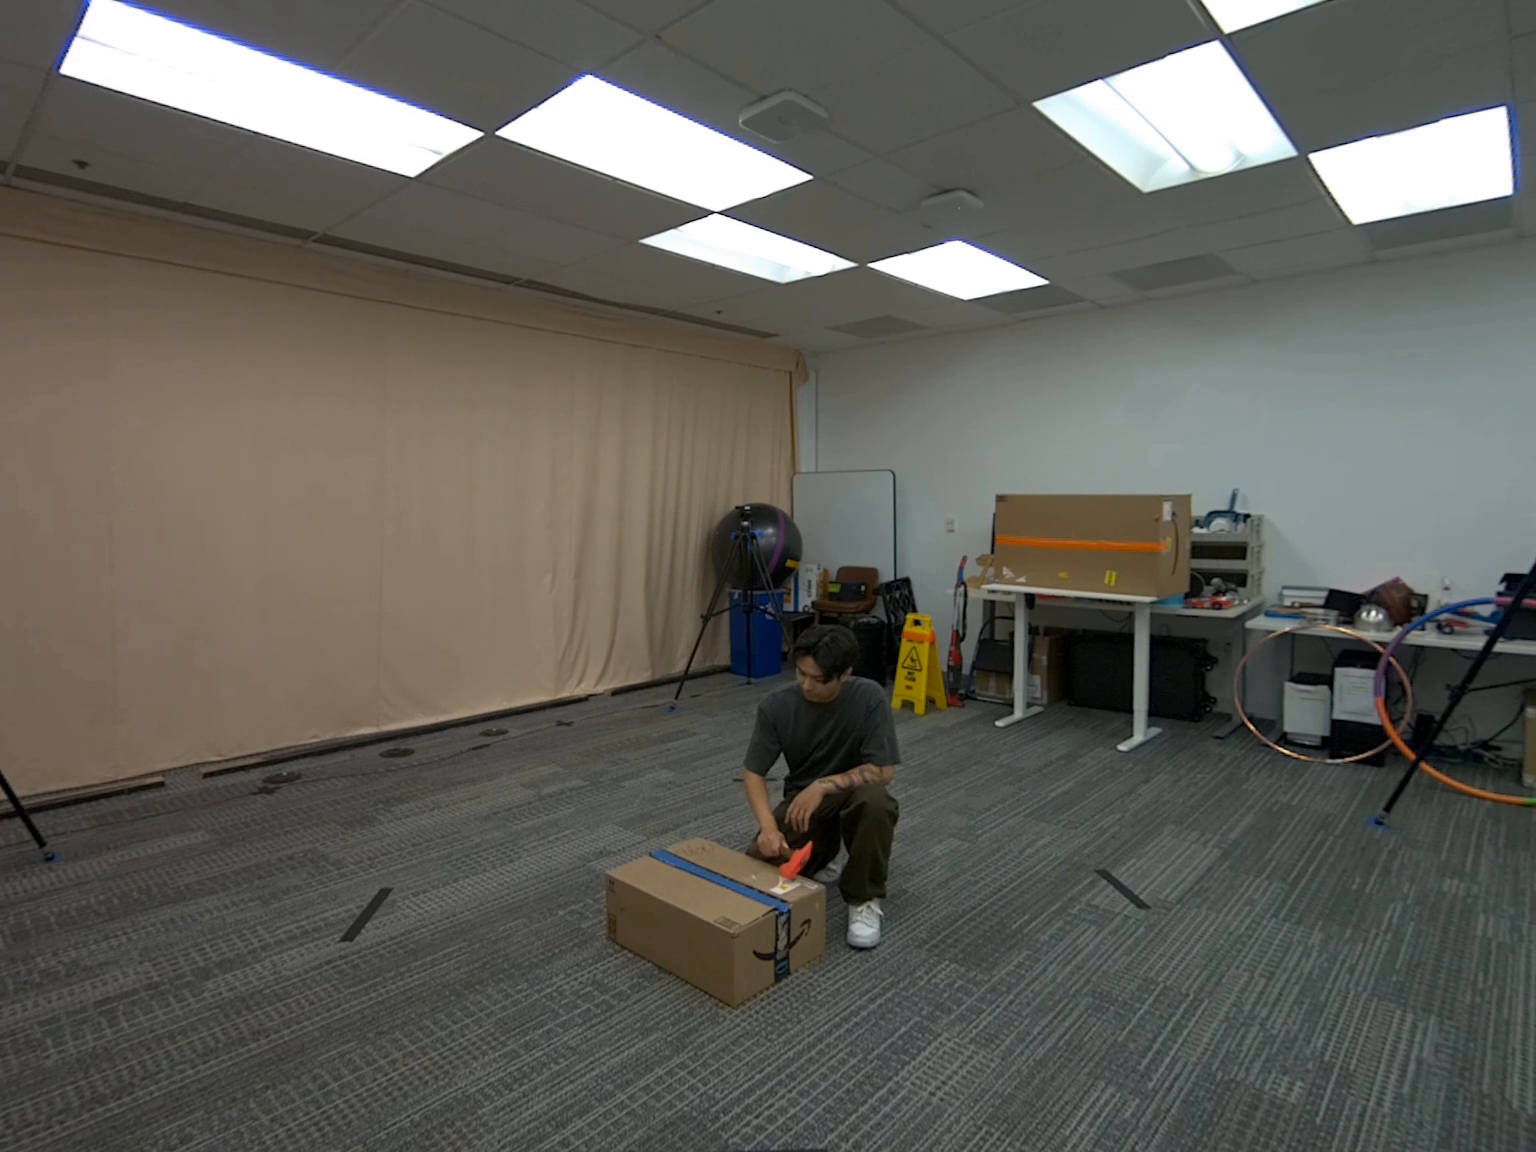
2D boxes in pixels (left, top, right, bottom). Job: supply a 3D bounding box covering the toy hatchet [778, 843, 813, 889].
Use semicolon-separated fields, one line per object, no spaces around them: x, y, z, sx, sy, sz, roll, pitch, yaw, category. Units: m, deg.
0.027;0.921;2.717;0.275;0.029;0.131;-26;26;47;toy hatchet
